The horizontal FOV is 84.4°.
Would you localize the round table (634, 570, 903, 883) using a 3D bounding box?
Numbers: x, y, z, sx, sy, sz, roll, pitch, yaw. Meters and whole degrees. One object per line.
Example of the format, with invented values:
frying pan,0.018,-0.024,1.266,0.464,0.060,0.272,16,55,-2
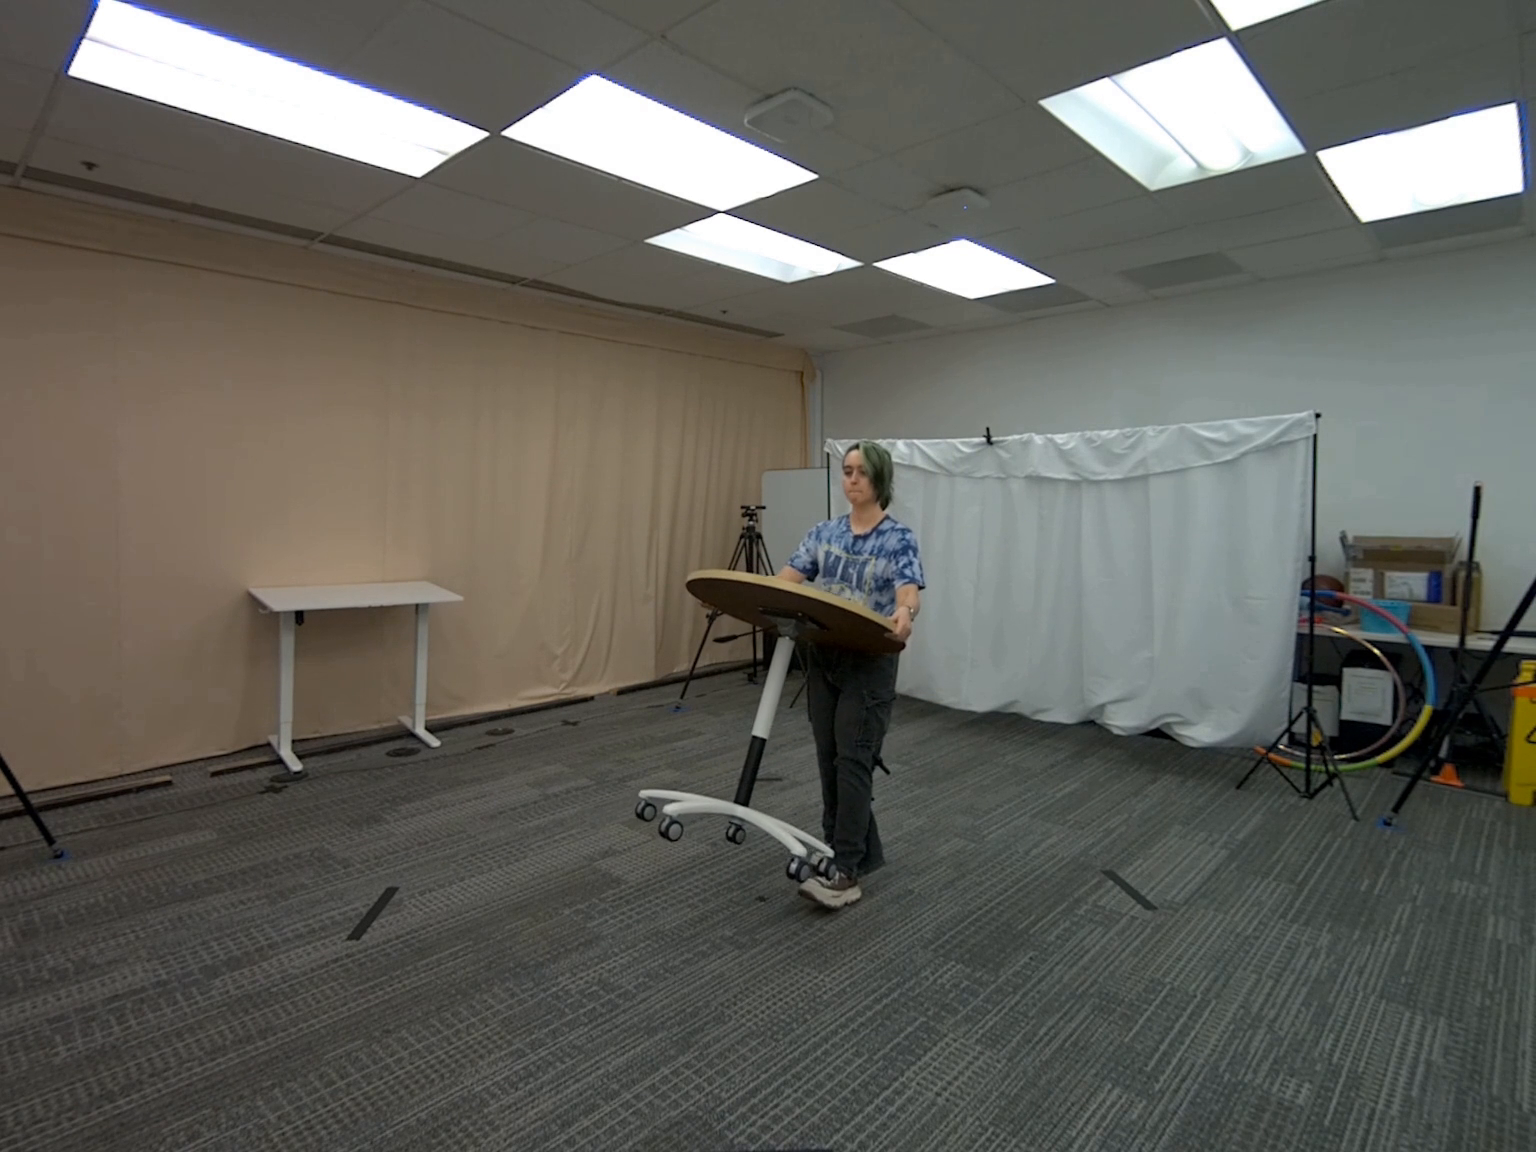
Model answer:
round table,-0.019,0.497,2.754,0.767,0.797,0.758,15,-14,2
